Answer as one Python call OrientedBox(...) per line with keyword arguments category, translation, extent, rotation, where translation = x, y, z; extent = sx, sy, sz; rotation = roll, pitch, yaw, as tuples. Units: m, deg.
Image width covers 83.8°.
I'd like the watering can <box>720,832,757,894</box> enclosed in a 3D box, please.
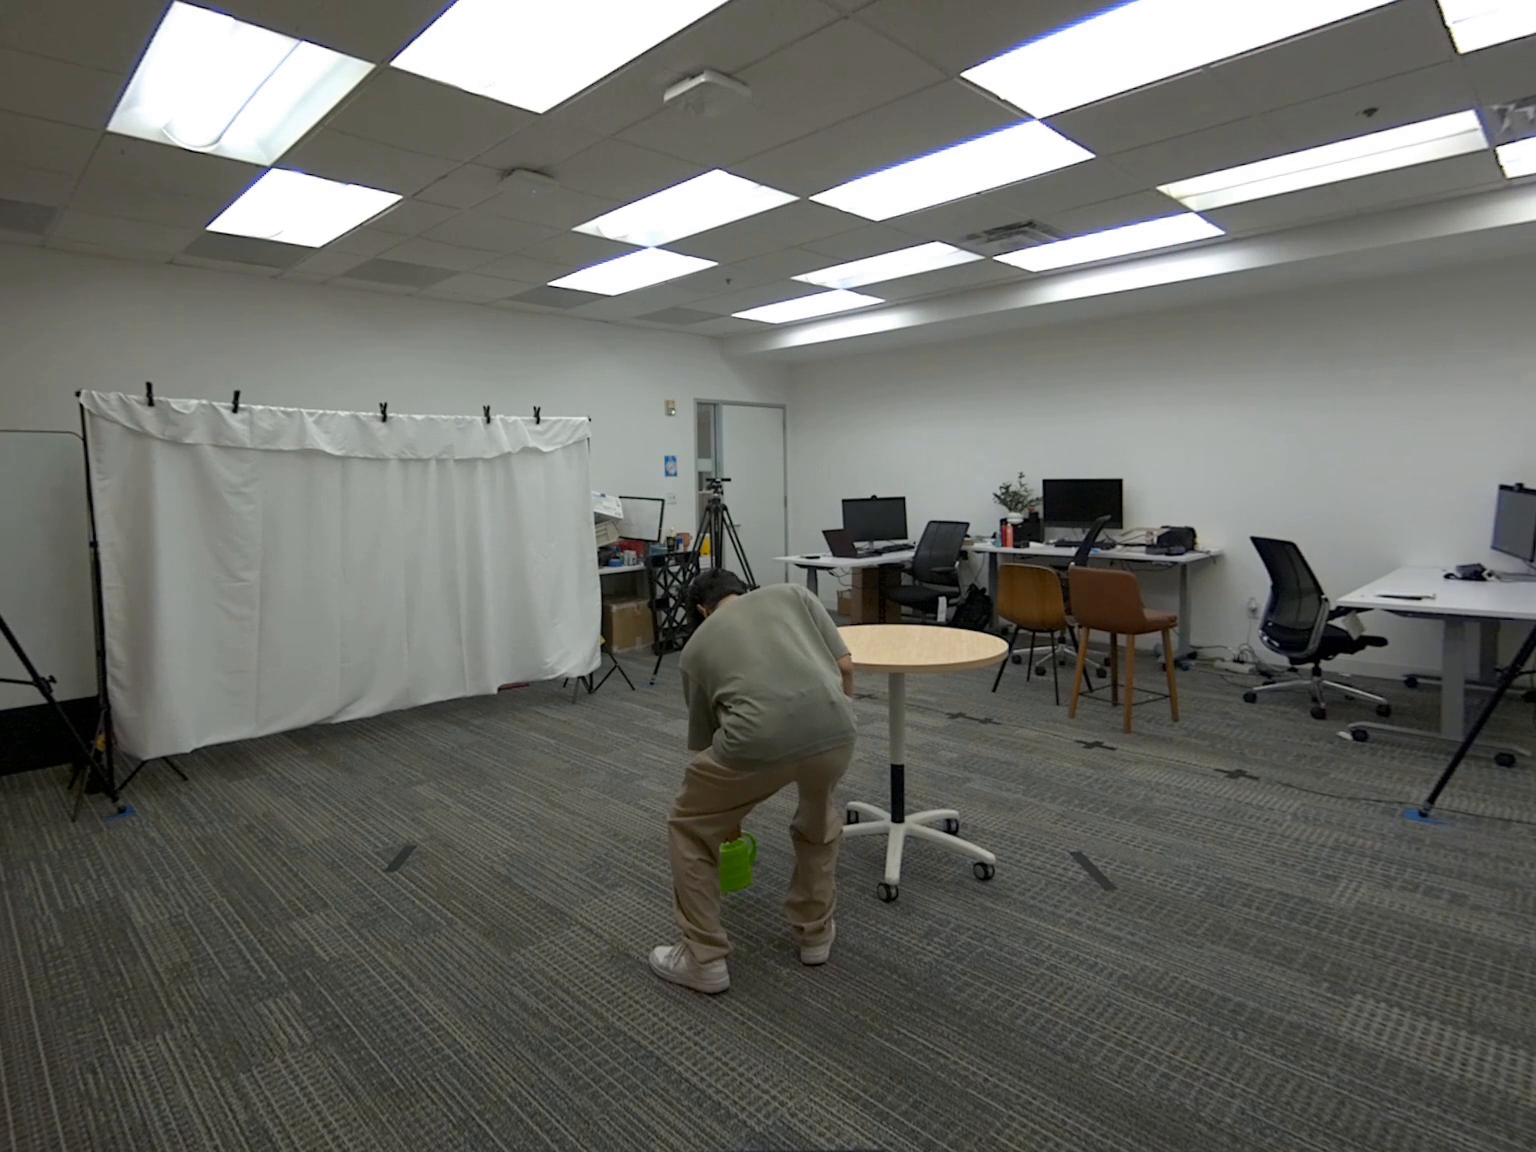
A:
OrientedBox(category="watering can", translation=(-0.162, 0.936, 2.803), extent=(0.277, 0.176, 0.099), rotation=(-6, 5, -6))
